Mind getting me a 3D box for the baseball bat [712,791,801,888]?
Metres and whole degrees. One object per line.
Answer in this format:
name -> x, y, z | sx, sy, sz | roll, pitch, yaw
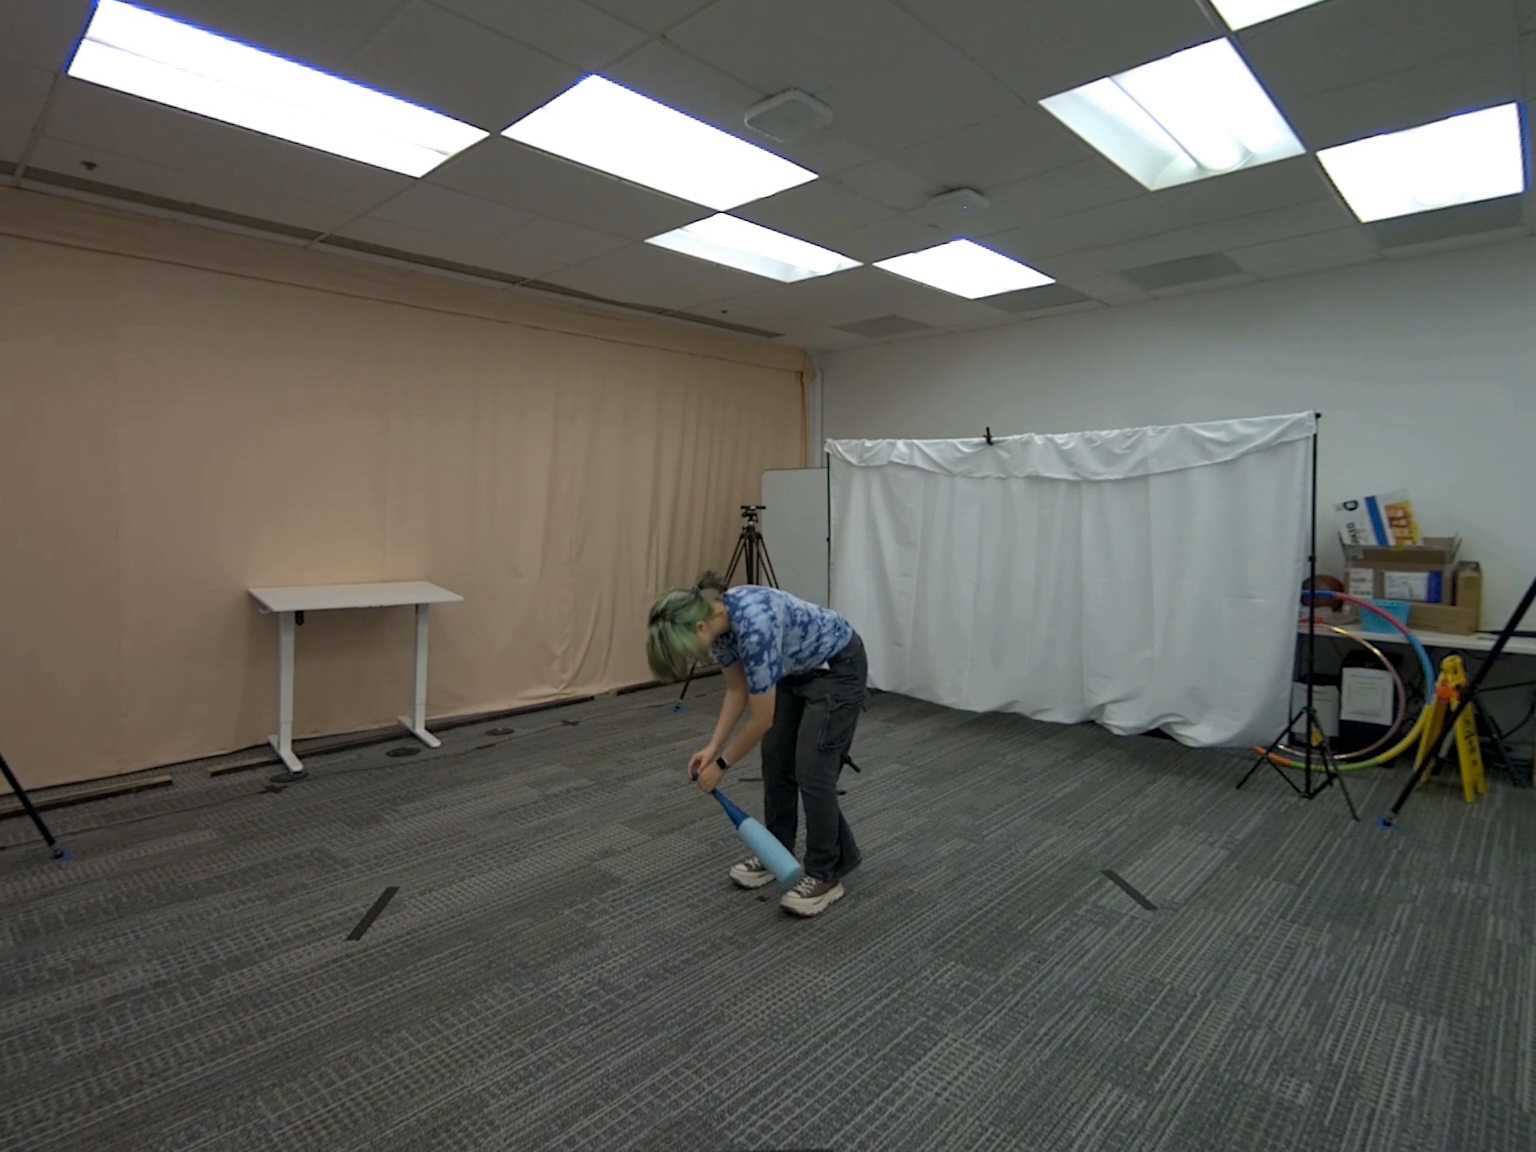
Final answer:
baseball bat -> -0.082, 0.820, 2.832 | 0.086, 0.088, 0.563 | -3, 29, -40
